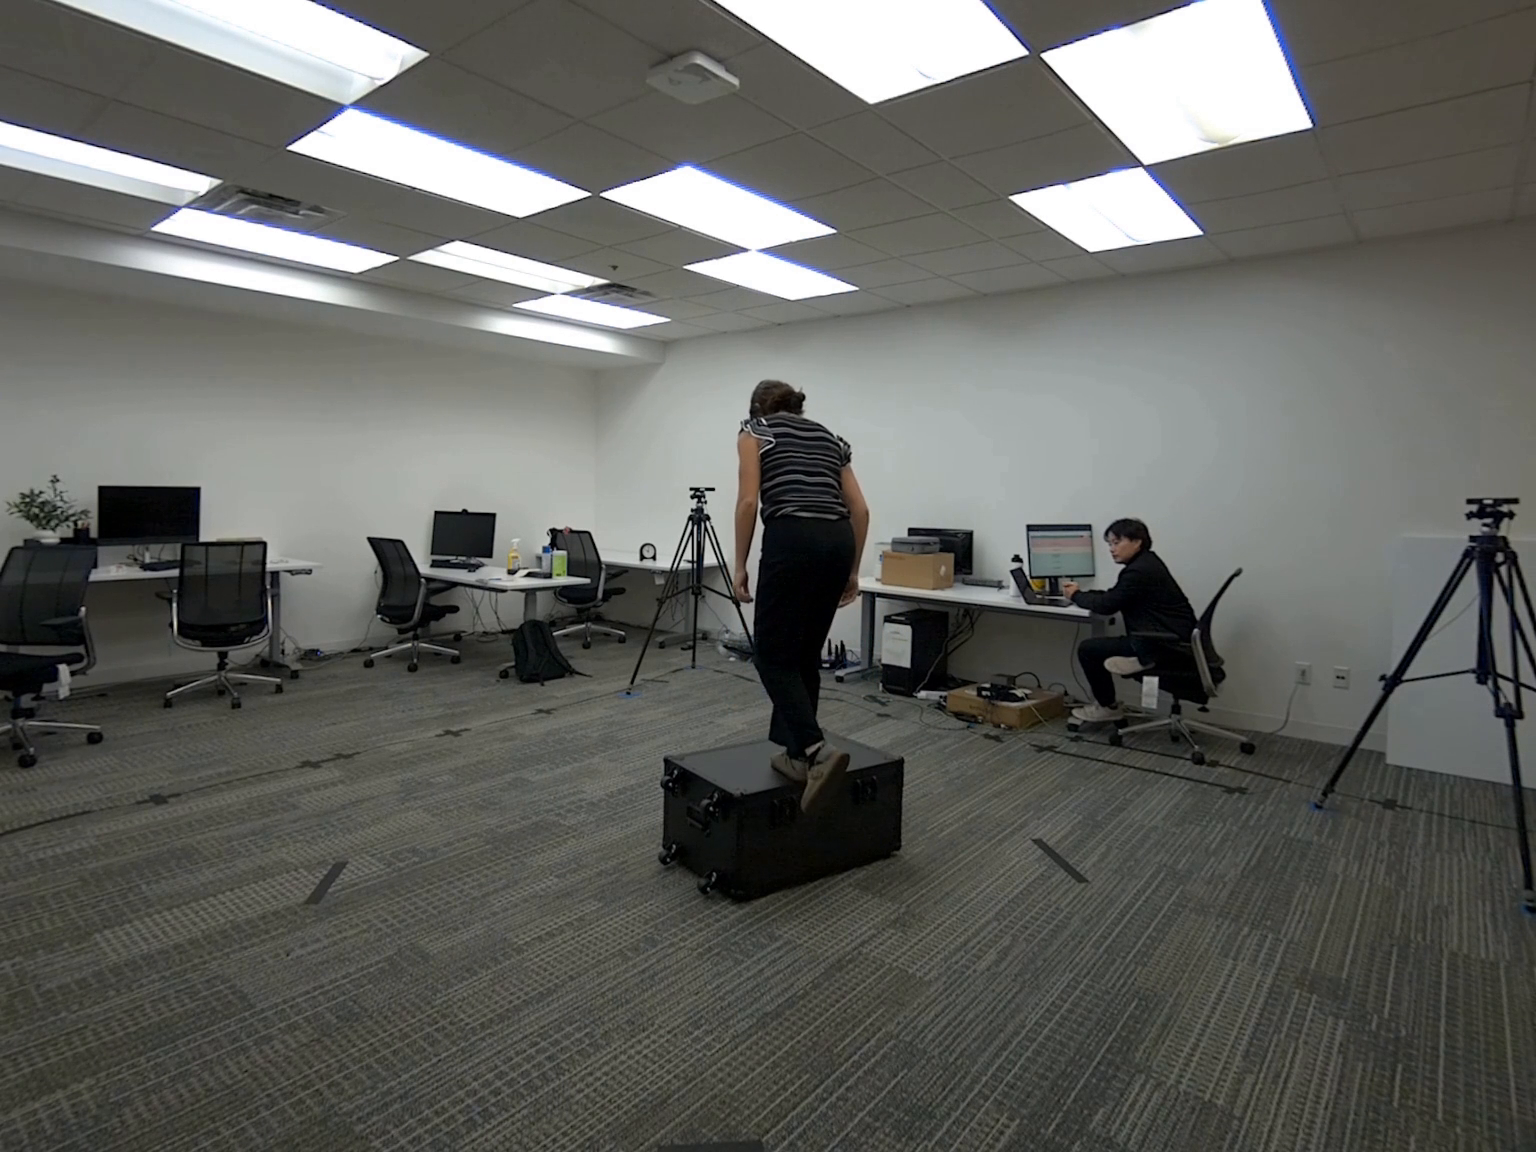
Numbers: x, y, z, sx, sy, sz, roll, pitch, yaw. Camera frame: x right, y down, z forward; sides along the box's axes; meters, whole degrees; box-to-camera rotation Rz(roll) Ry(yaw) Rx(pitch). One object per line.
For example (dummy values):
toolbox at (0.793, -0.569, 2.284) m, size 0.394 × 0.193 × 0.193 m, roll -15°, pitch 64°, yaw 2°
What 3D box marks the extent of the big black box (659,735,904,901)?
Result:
big black box at (0.024, 0.872, 3.212) m, size 0.837 × 0.395 × 0.538 m, roll -2°, pitch 6°, yaw -35°
